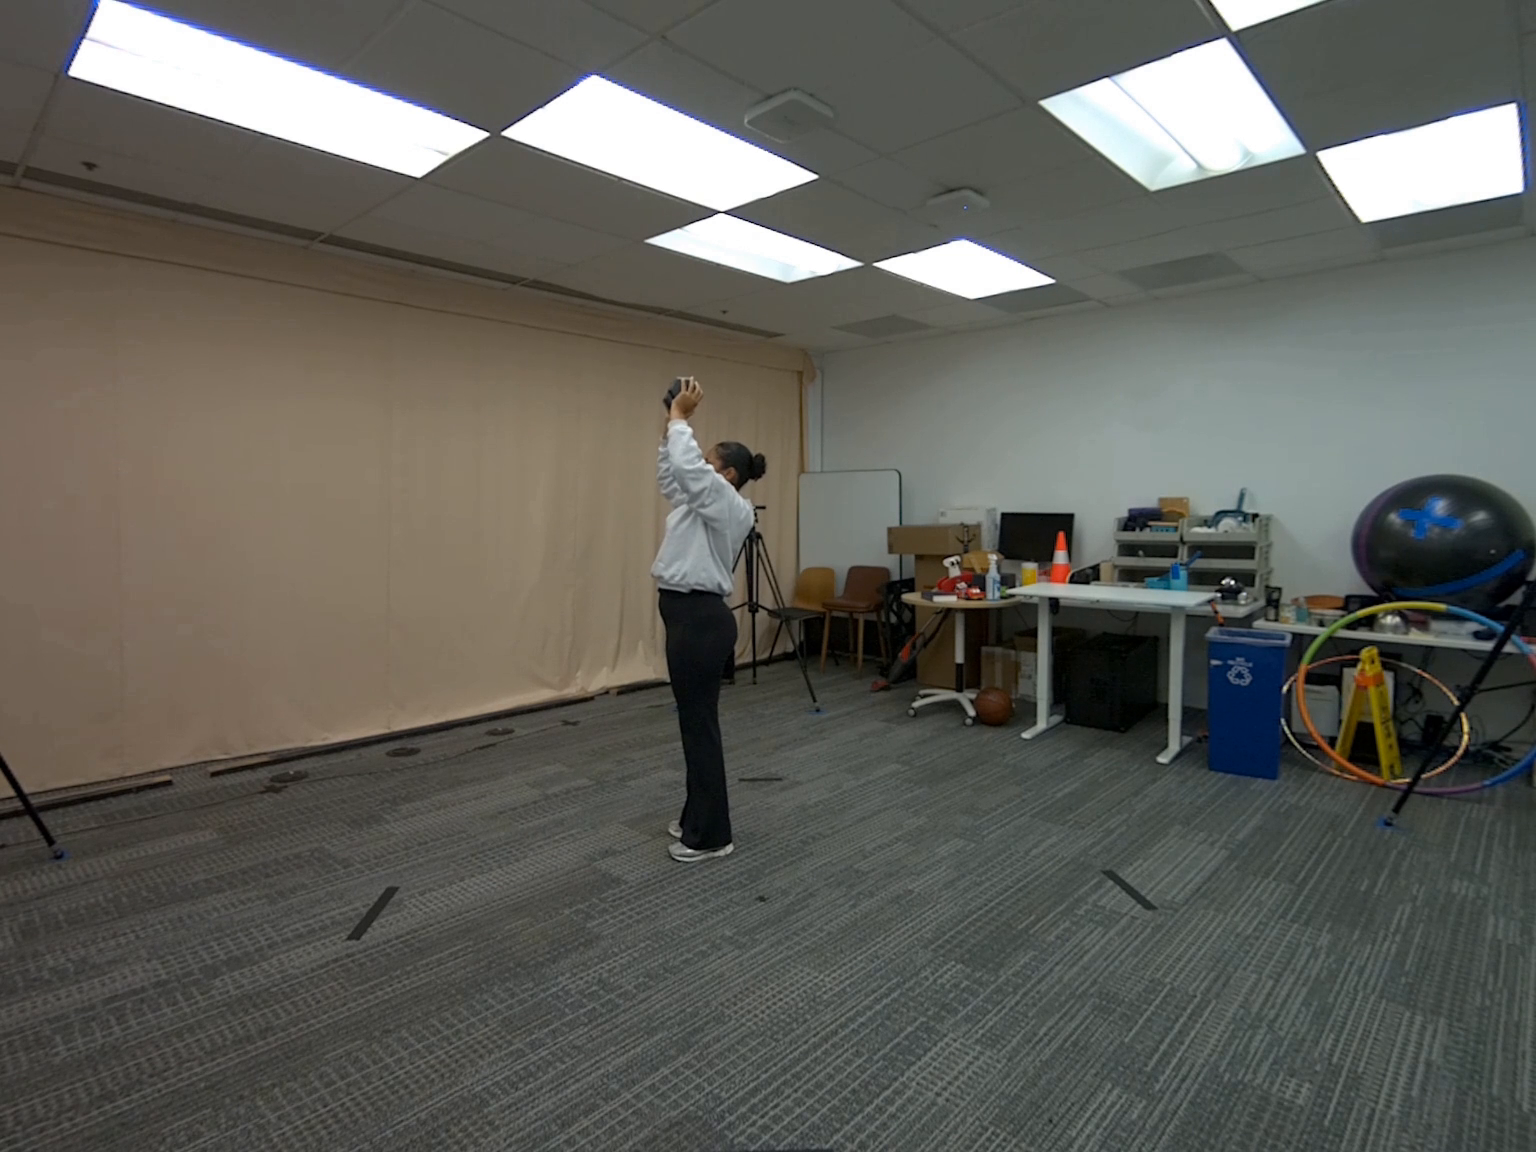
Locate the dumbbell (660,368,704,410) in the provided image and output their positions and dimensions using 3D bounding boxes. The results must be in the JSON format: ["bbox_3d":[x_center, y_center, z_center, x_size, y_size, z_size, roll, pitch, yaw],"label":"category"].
[{"bbox_3d":[-0.355,-0.729,3.420,0.108,0.122,0.296,-31,6,-7],"label":"dumbbell"}]
